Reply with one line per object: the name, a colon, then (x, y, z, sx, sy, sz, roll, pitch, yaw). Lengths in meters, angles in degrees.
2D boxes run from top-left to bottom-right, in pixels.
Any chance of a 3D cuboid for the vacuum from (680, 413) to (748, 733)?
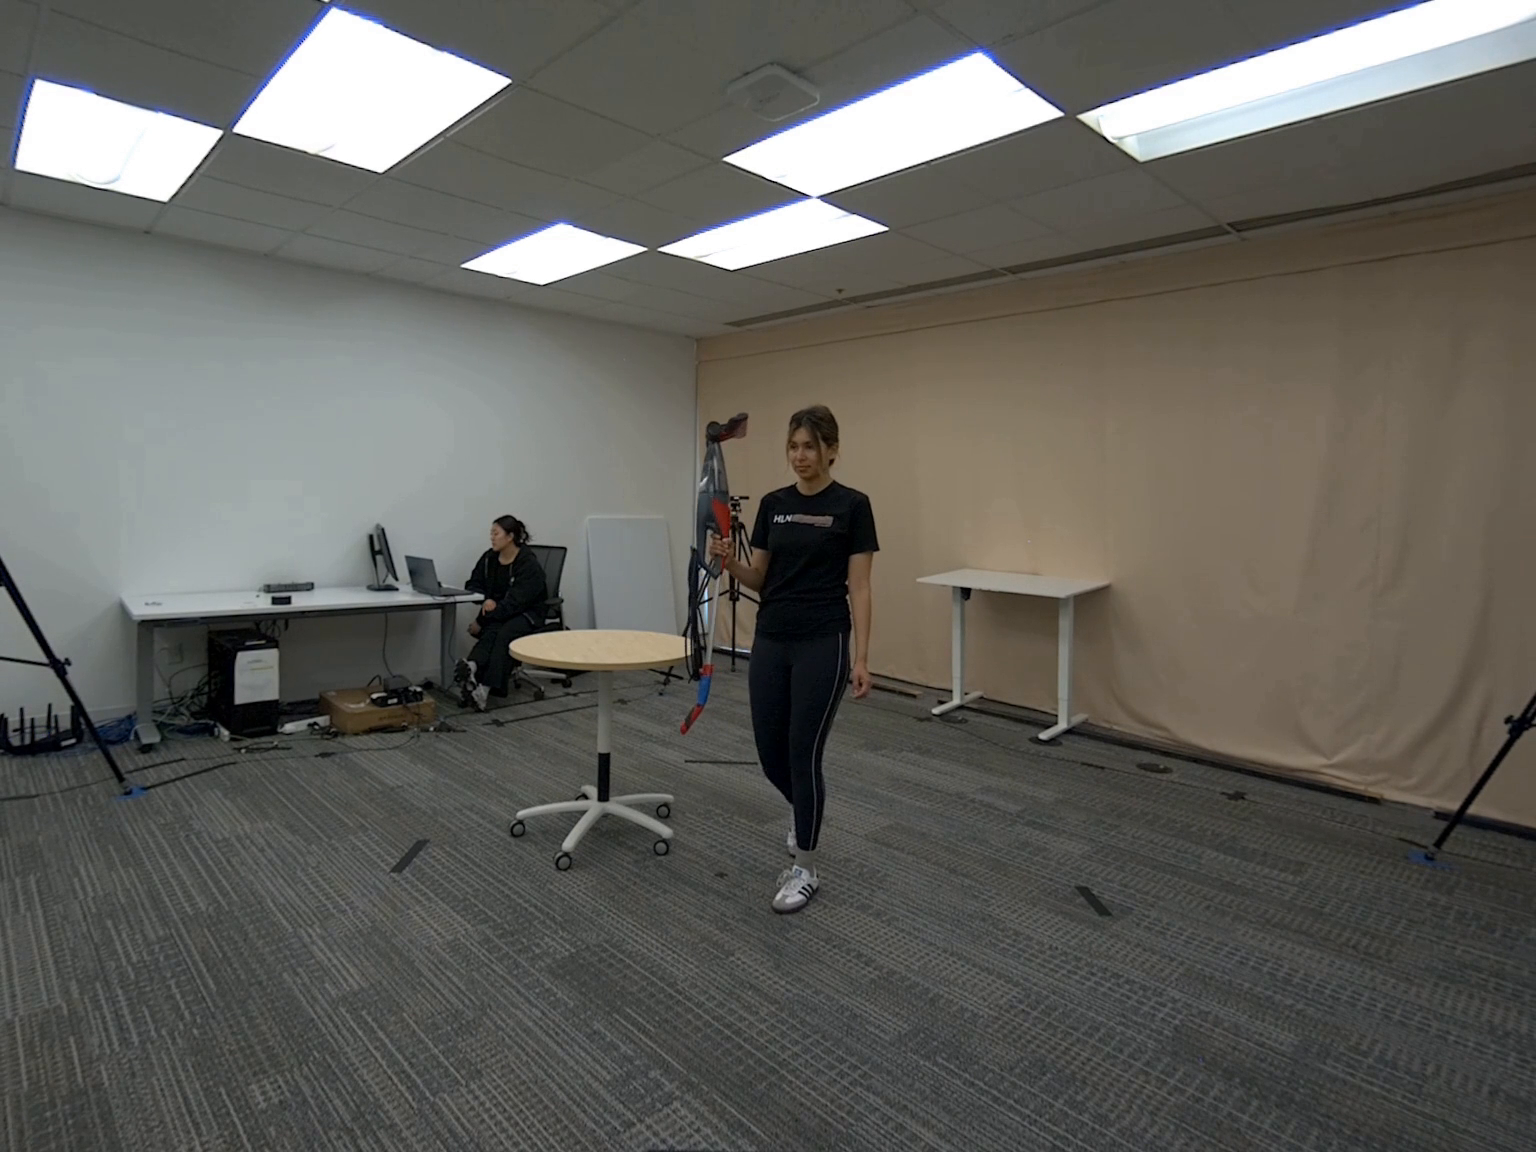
vacuum: (-0.219, -0.005, 2.843, 0.144, 1.053, 0.251, 8, -6, 0)
